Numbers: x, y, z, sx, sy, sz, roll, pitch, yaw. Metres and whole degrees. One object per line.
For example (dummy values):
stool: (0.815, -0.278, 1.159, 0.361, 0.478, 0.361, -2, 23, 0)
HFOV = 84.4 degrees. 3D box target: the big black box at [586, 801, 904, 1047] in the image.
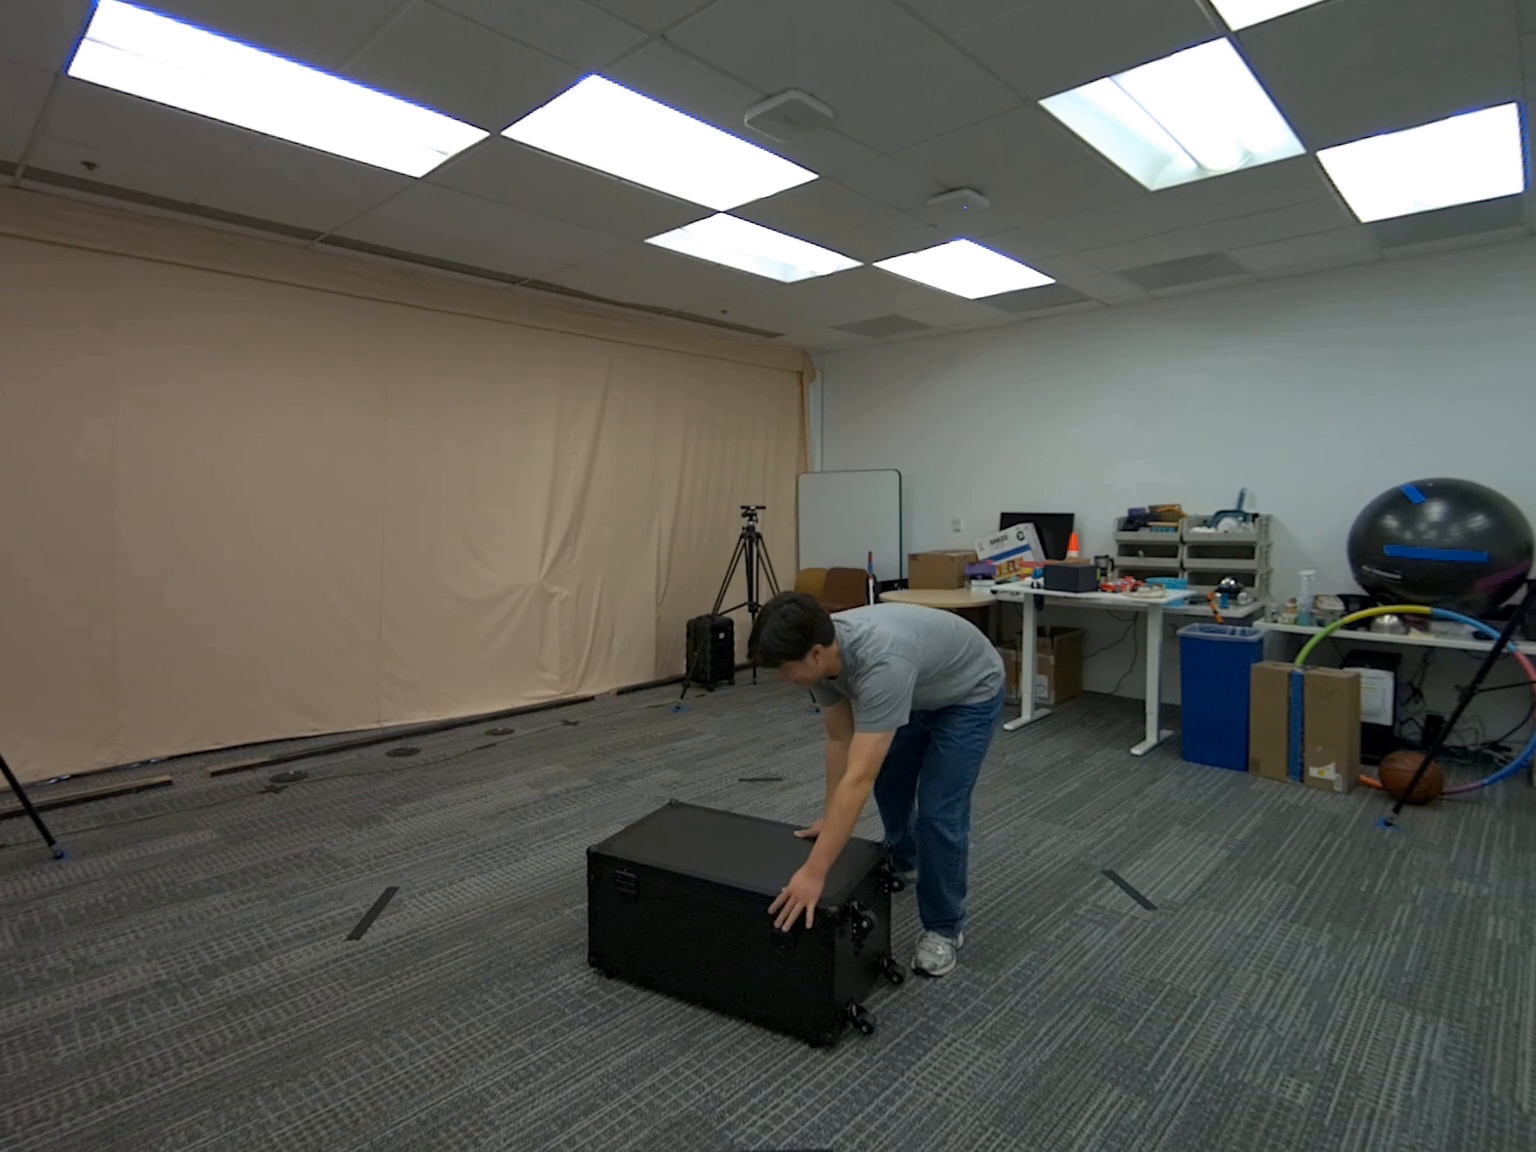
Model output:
big black box: (-0.053, 1.002, 2.497, 0.885, 0.395, 0.508, 2, 4, 27)
